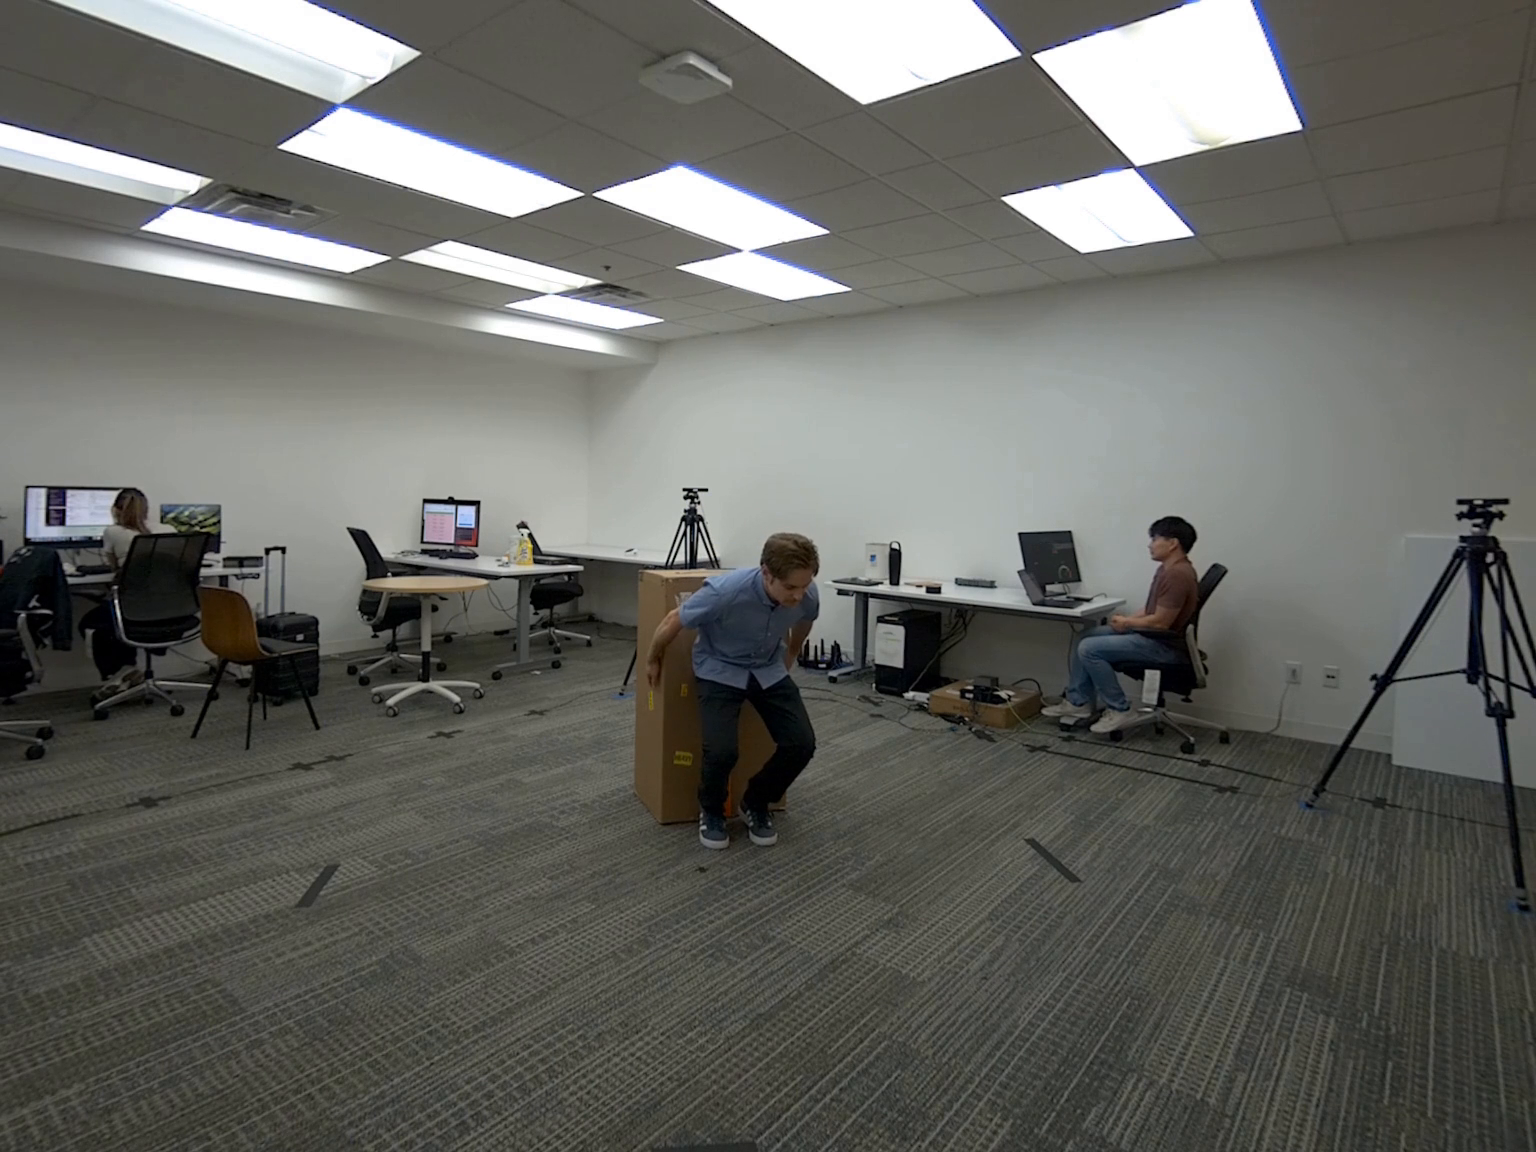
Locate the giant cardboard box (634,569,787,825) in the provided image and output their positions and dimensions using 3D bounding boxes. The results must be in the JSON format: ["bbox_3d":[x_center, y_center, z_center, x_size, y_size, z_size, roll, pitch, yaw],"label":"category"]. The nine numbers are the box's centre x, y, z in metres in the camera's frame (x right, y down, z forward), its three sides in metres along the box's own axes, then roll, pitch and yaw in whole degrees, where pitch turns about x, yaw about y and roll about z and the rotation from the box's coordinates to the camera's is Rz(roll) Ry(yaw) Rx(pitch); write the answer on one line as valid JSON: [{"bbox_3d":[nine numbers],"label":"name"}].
[{"bbox_3d":[-0.269,0.495,3.785,0.571,1.026,0.457,0,1,-23],"label":"giant cardboard box"}]
